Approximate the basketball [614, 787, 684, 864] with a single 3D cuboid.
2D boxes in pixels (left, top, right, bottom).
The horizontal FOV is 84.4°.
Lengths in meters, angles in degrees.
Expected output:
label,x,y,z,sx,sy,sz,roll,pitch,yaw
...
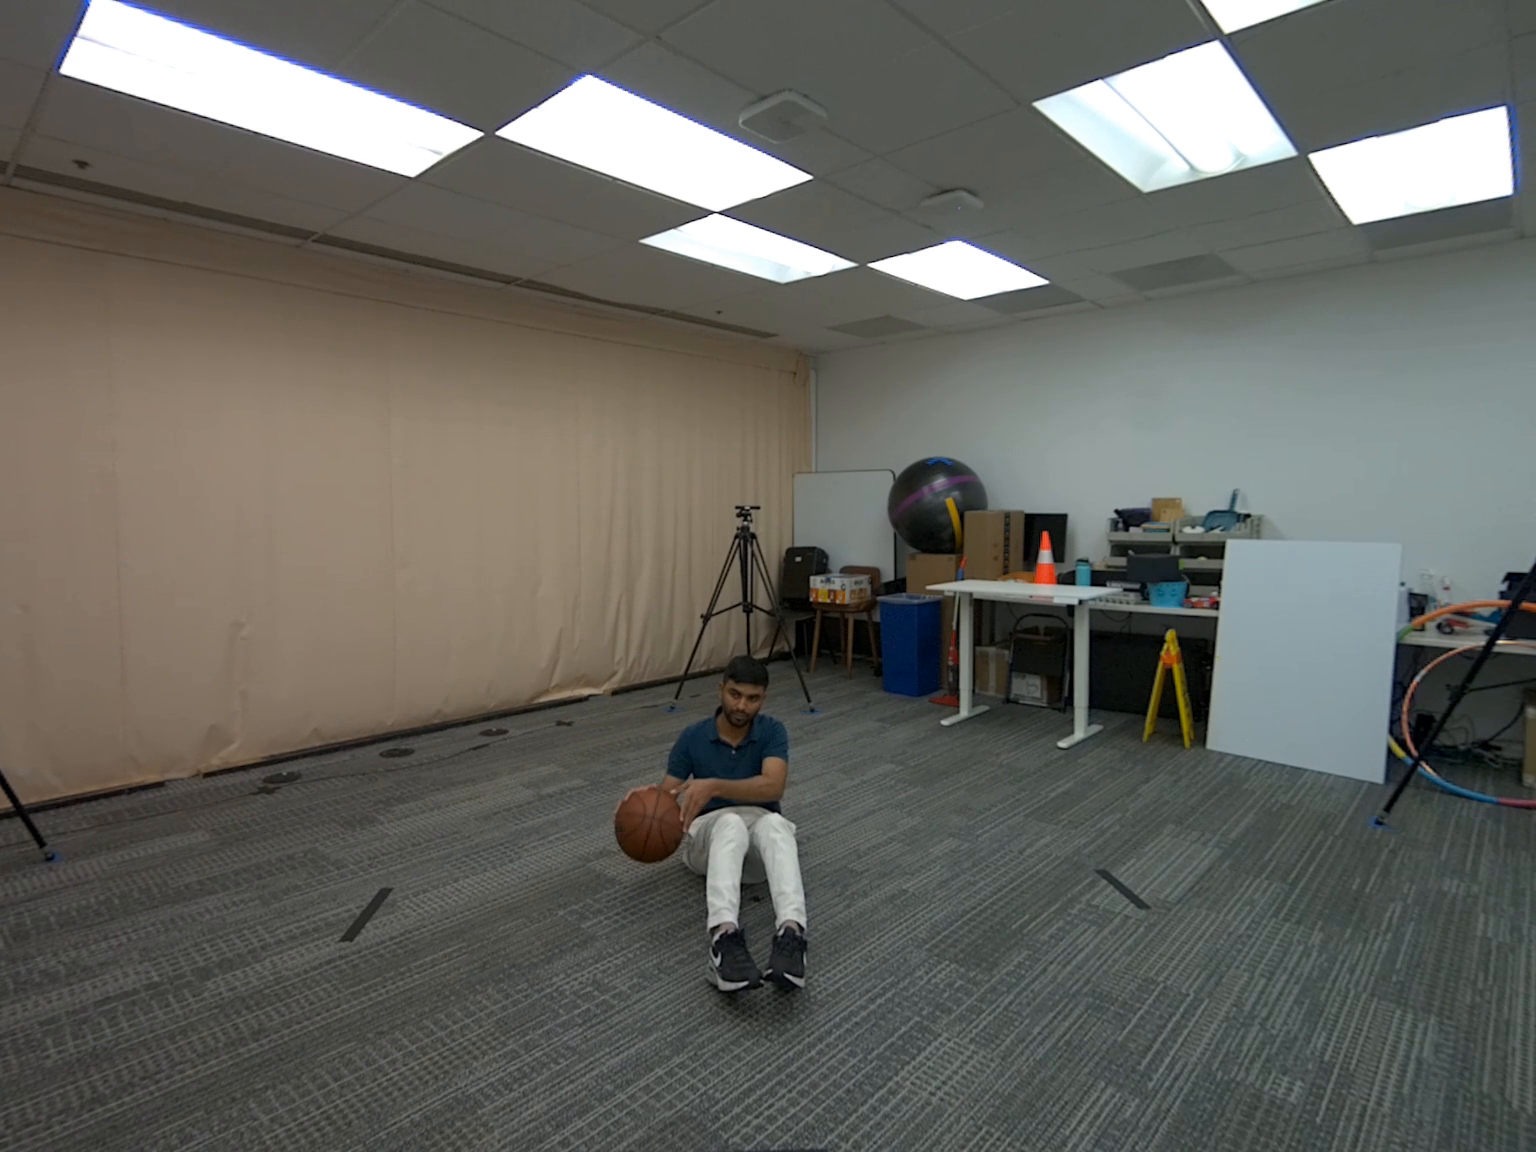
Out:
label,x,y,z,sx,sy,sz,roll,pitch,yaw
basketball,-0.385,0.842,2.858,0.236,0.235,0.237,0,4,-2
